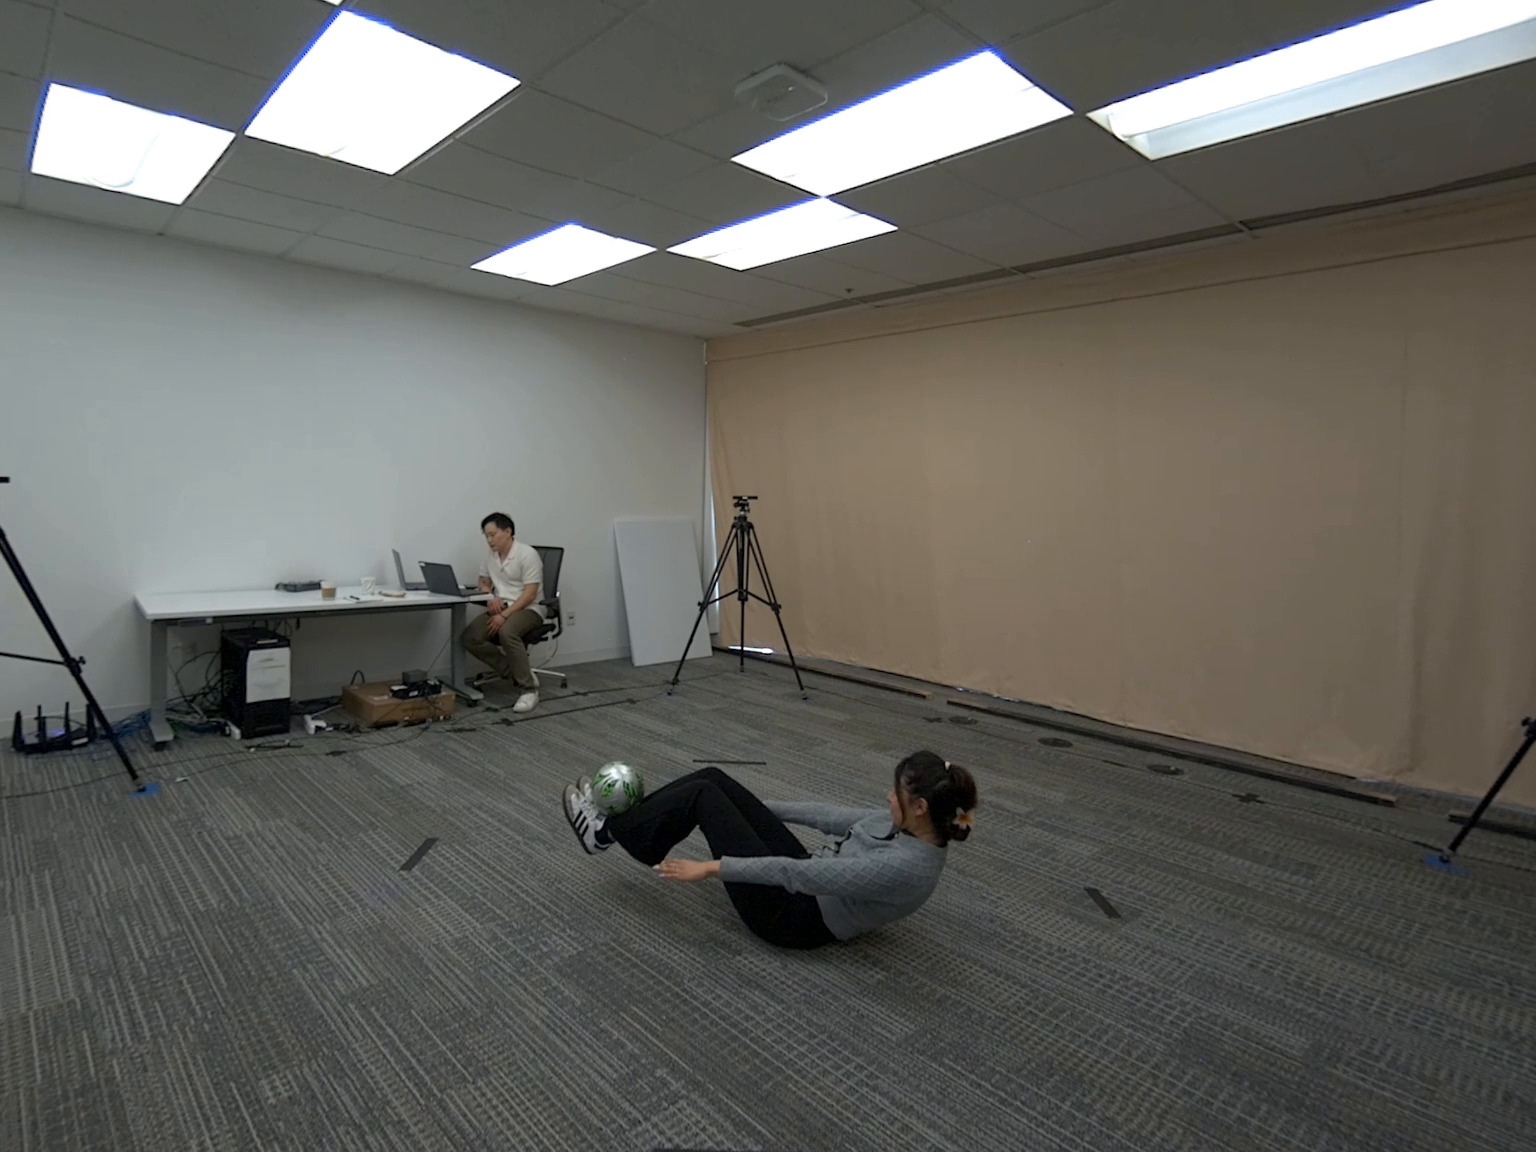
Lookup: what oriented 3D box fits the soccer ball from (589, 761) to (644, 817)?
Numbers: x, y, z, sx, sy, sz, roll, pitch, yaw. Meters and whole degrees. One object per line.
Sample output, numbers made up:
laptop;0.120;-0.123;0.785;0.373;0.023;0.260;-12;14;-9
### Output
soccer ball;-0.534;0.746;2.935;0.187;0.187;0.188;1;4;-1
